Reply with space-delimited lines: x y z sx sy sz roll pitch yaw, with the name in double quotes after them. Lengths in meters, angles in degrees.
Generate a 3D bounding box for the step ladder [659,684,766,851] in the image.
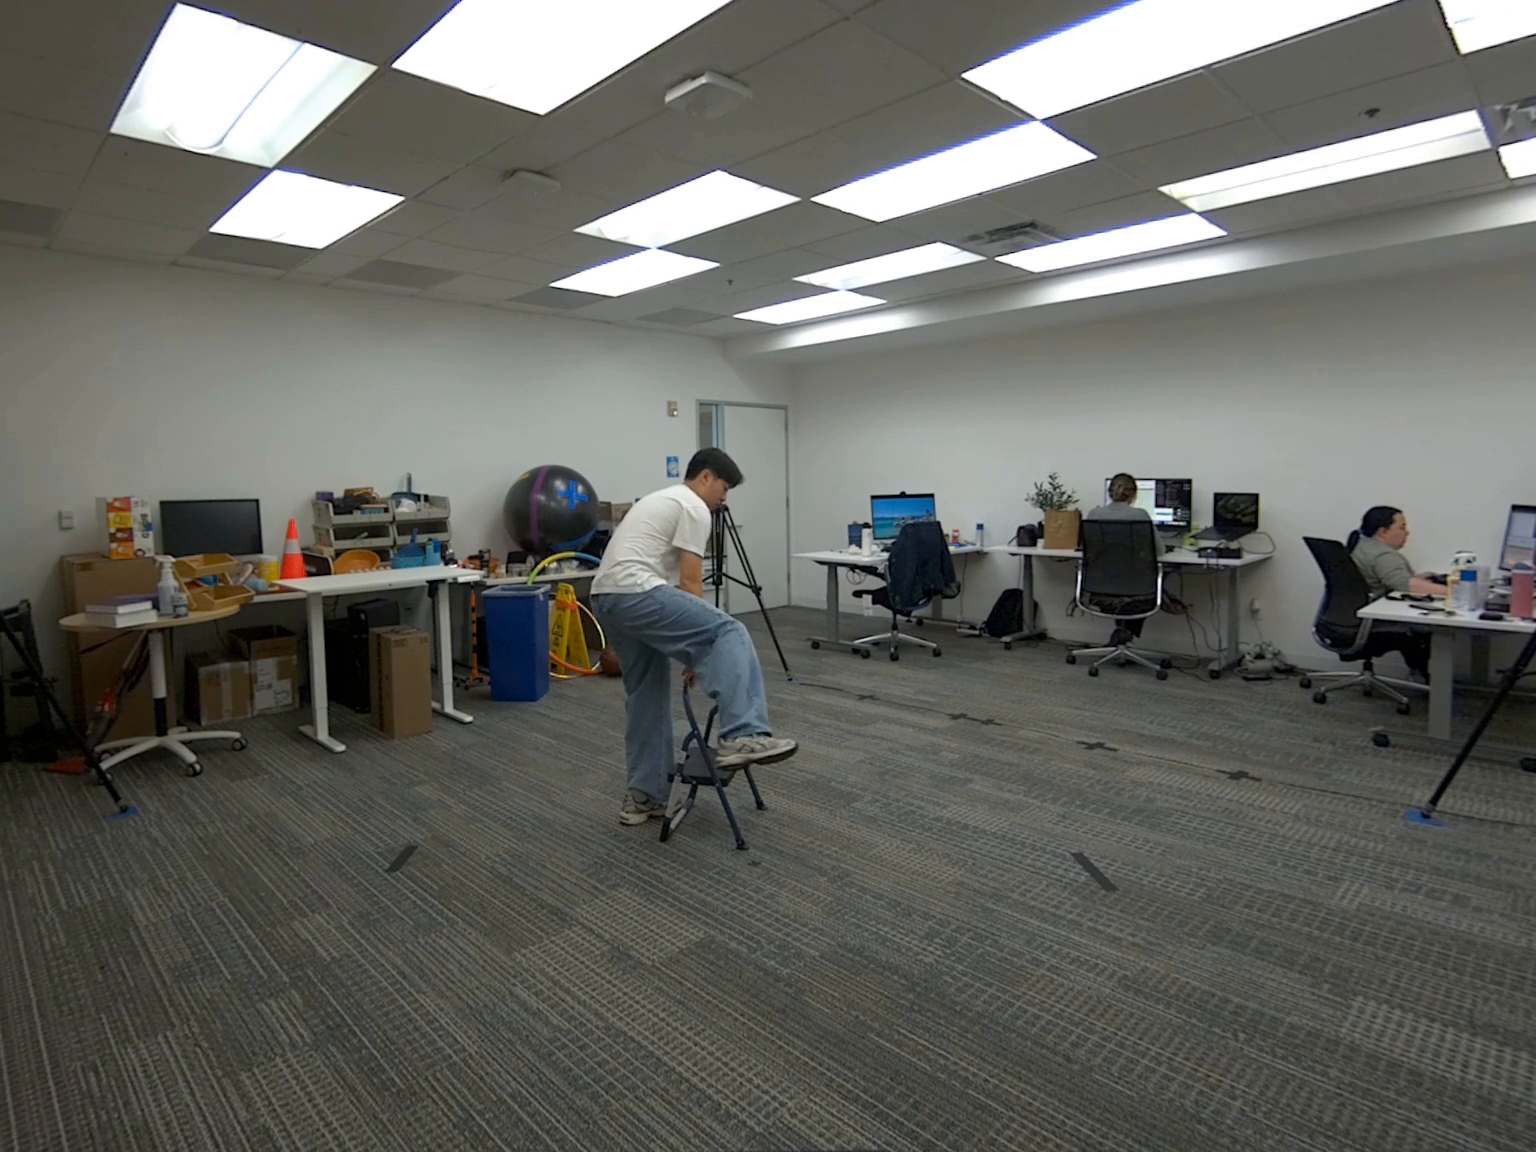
-0.218 0.705 3.443 0.353 0.604 0.427 0 4 11 "step ladder"
